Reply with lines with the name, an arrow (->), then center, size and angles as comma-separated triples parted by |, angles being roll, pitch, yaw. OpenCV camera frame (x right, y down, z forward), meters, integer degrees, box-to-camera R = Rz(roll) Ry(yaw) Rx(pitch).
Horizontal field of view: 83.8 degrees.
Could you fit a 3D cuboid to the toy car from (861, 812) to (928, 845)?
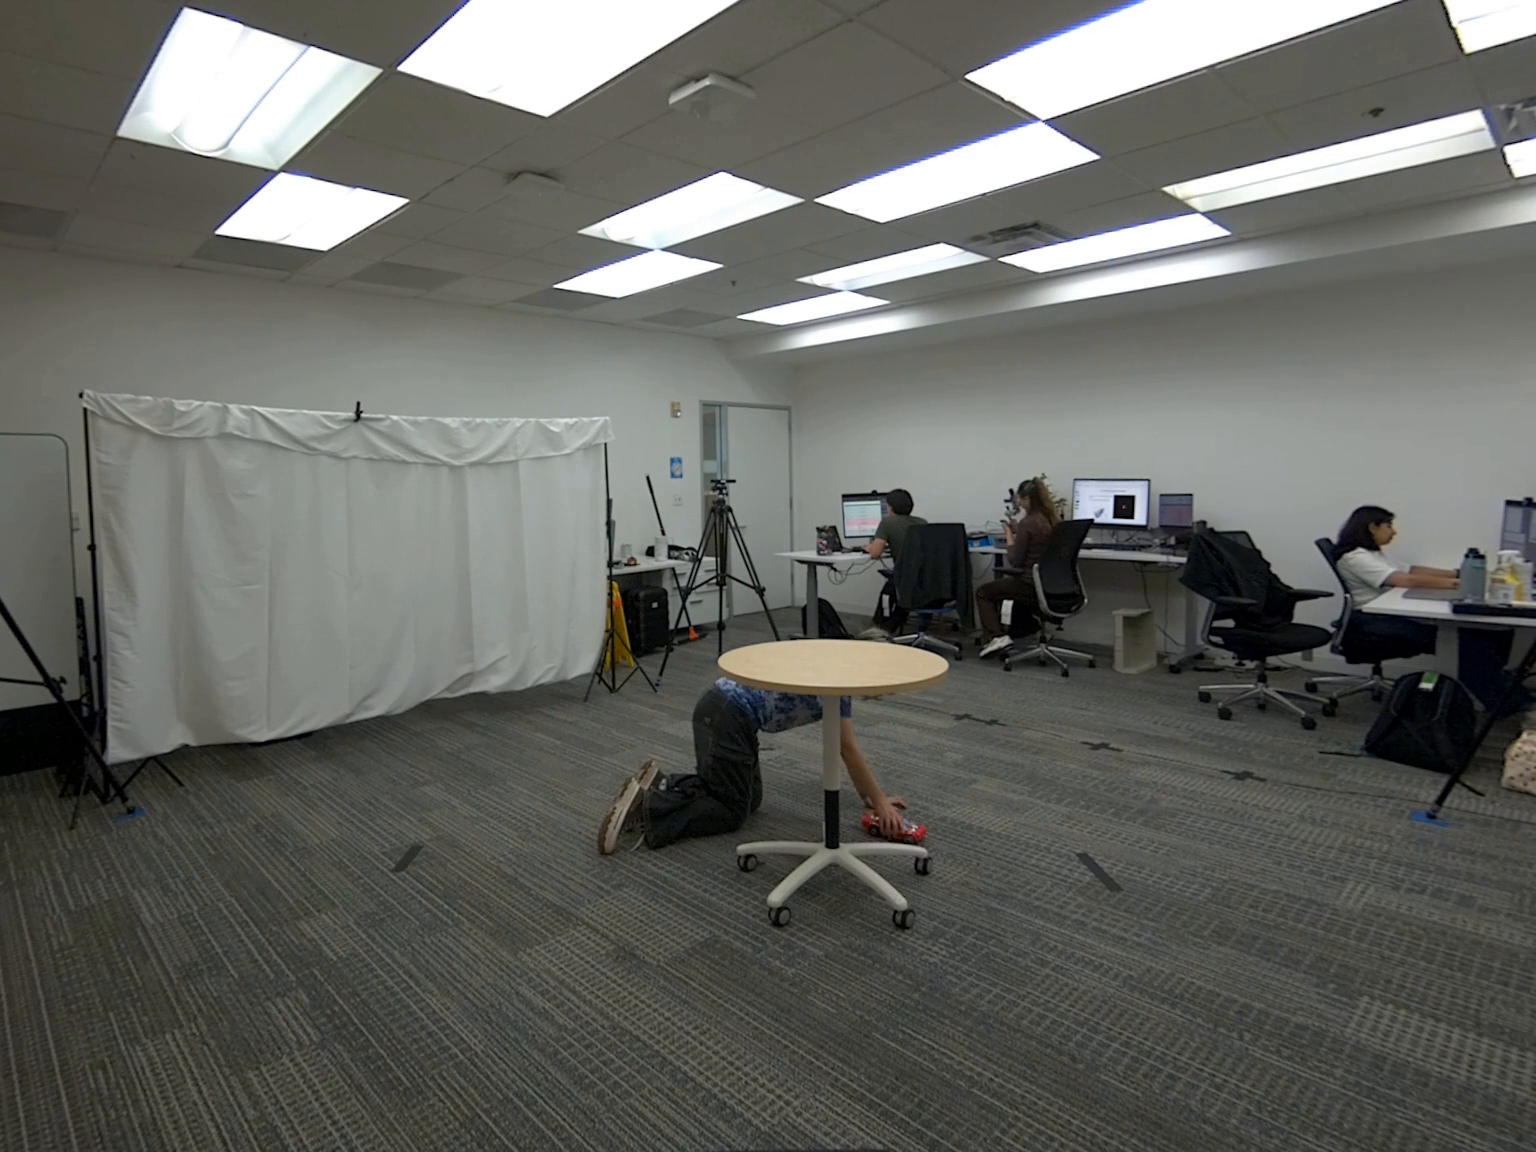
toy car -> 0.502, 0.994, 3.334 | 0.263, 0.082, 0.127 | 14, 13, 32
